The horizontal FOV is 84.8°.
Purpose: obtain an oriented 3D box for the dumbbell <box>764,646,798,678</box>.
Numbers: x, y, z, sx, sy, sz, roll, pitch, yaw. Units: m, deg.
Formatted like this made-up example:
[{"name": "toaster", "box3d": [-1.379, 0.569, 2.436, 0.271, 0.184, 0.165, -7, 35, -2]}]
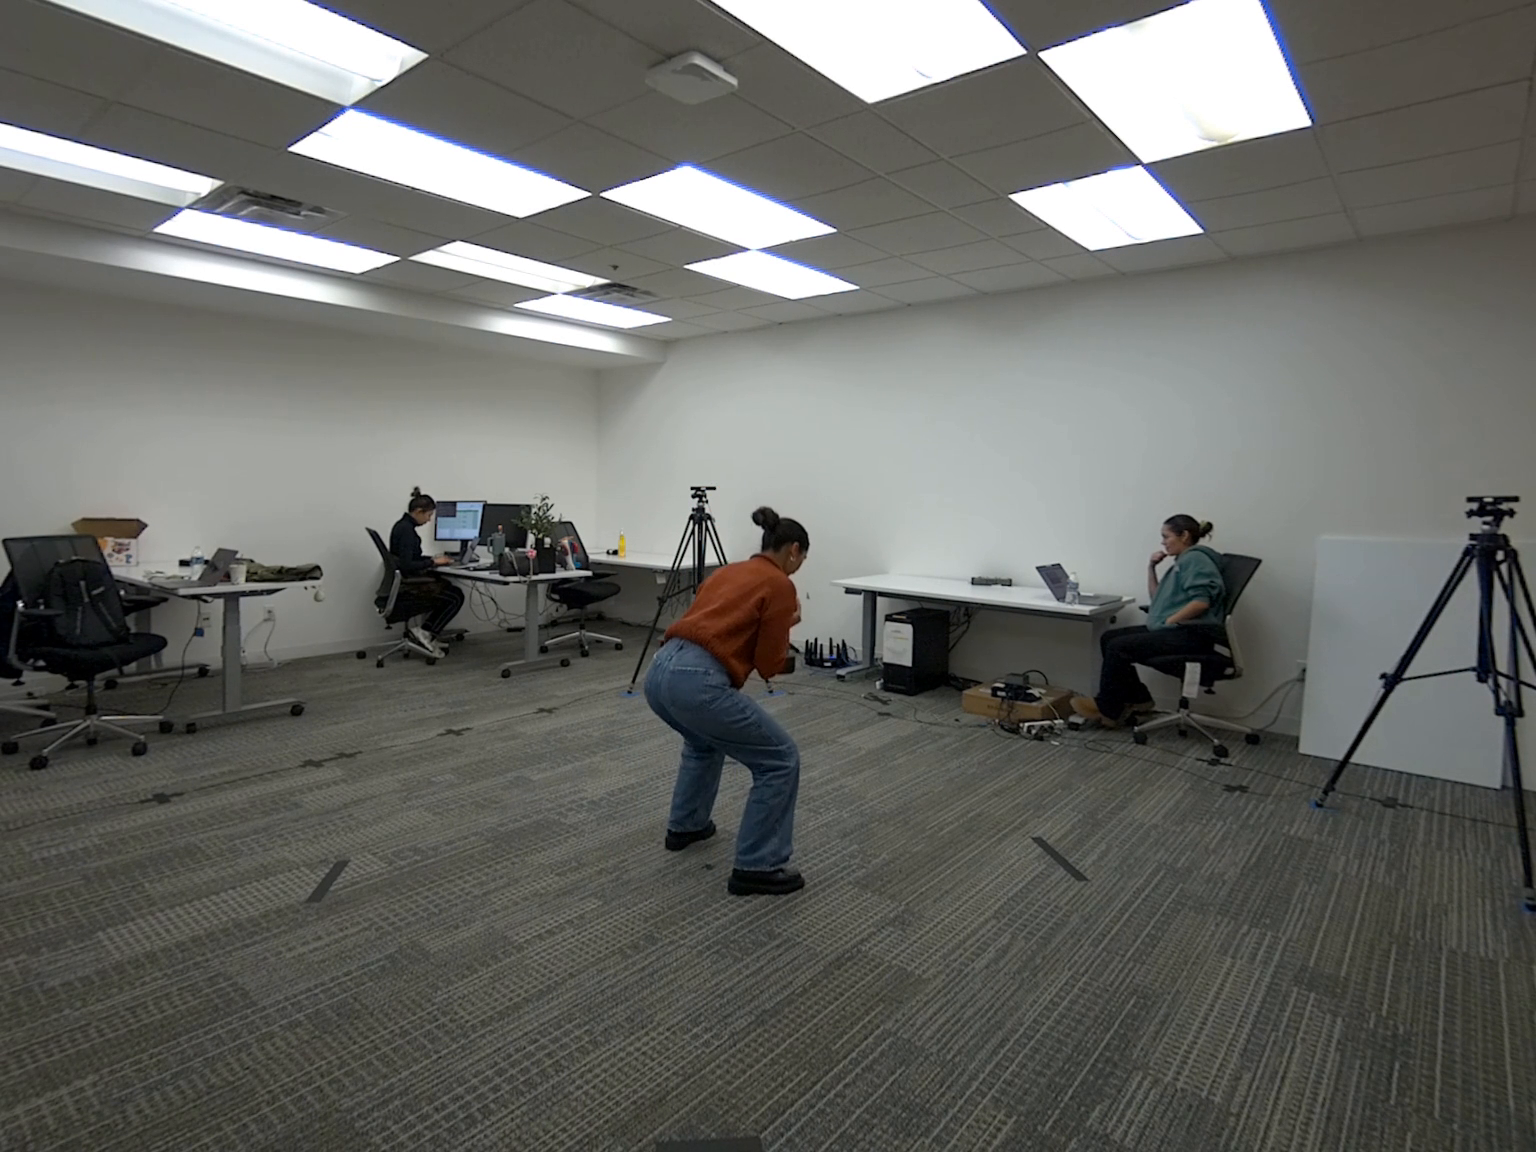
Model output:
[{"name": "dumbbell", "box3d": [0.040, 0.221, 3.247, 0.127, 0.291, 0.106, 7, 11, 38]}]
